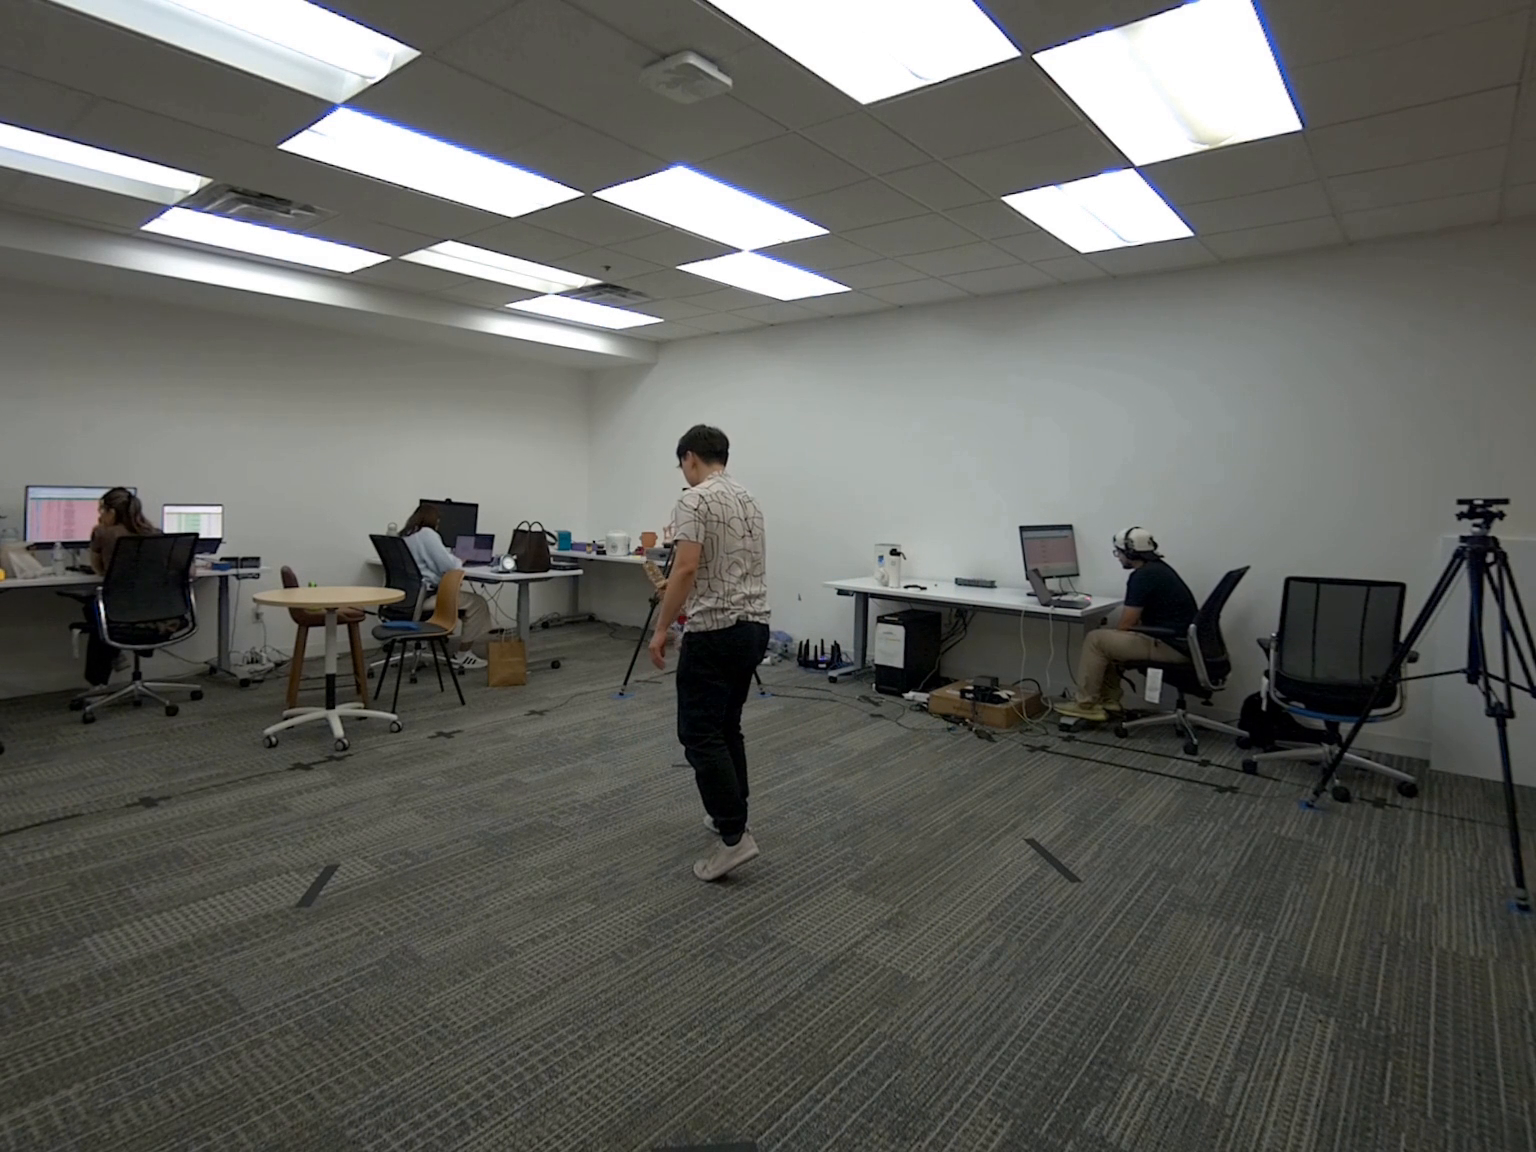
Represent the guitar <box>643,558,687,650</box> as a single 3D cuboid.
[{"bbox_3d":[-0.391,0.125,3.740,0.193,0.512,0.068,-26,-22,2],"label":"guitar"}]
